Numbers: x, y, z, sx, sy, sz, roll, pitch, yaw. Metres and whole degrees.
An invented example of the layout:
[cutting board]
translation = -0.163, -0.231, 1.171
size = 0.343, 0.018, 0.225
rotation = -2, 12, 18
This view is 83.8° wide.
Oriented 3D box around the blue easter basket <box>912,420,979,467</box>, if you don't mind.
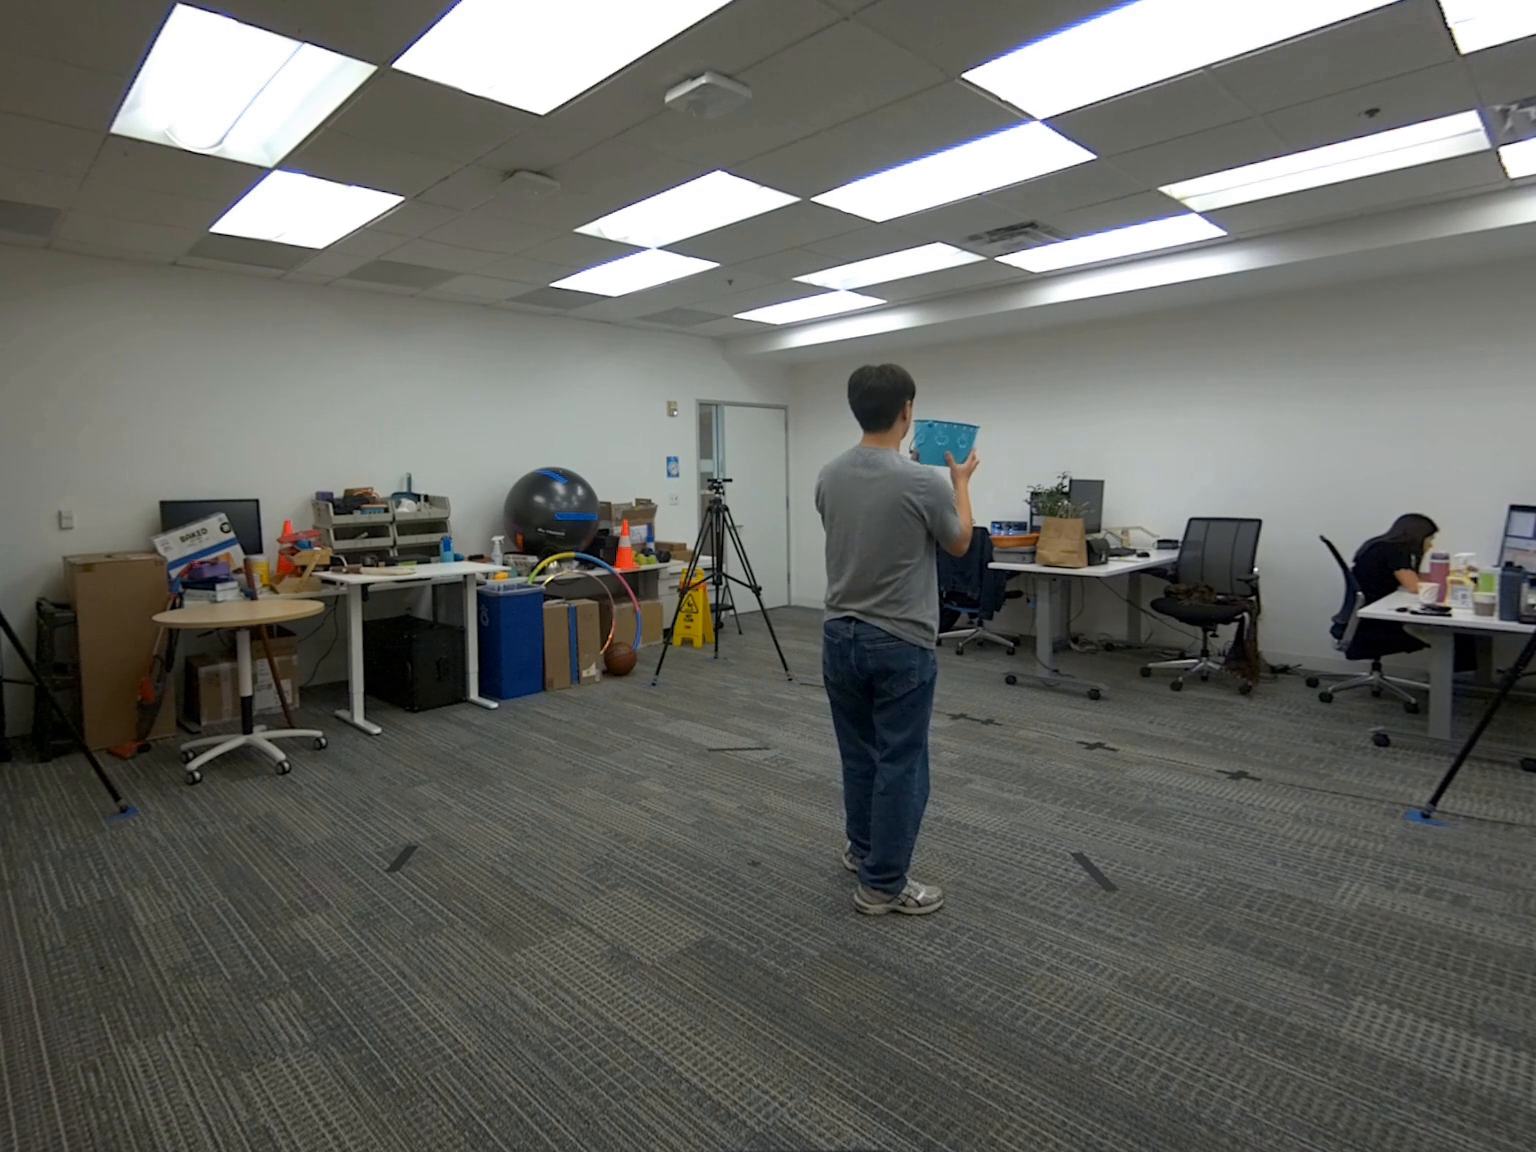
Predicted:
[blue easter basket]
translation = 0.633, -0.470, 3.023
size = 0.243, 0.155, 0.245
rotation = 6, 6, -2
